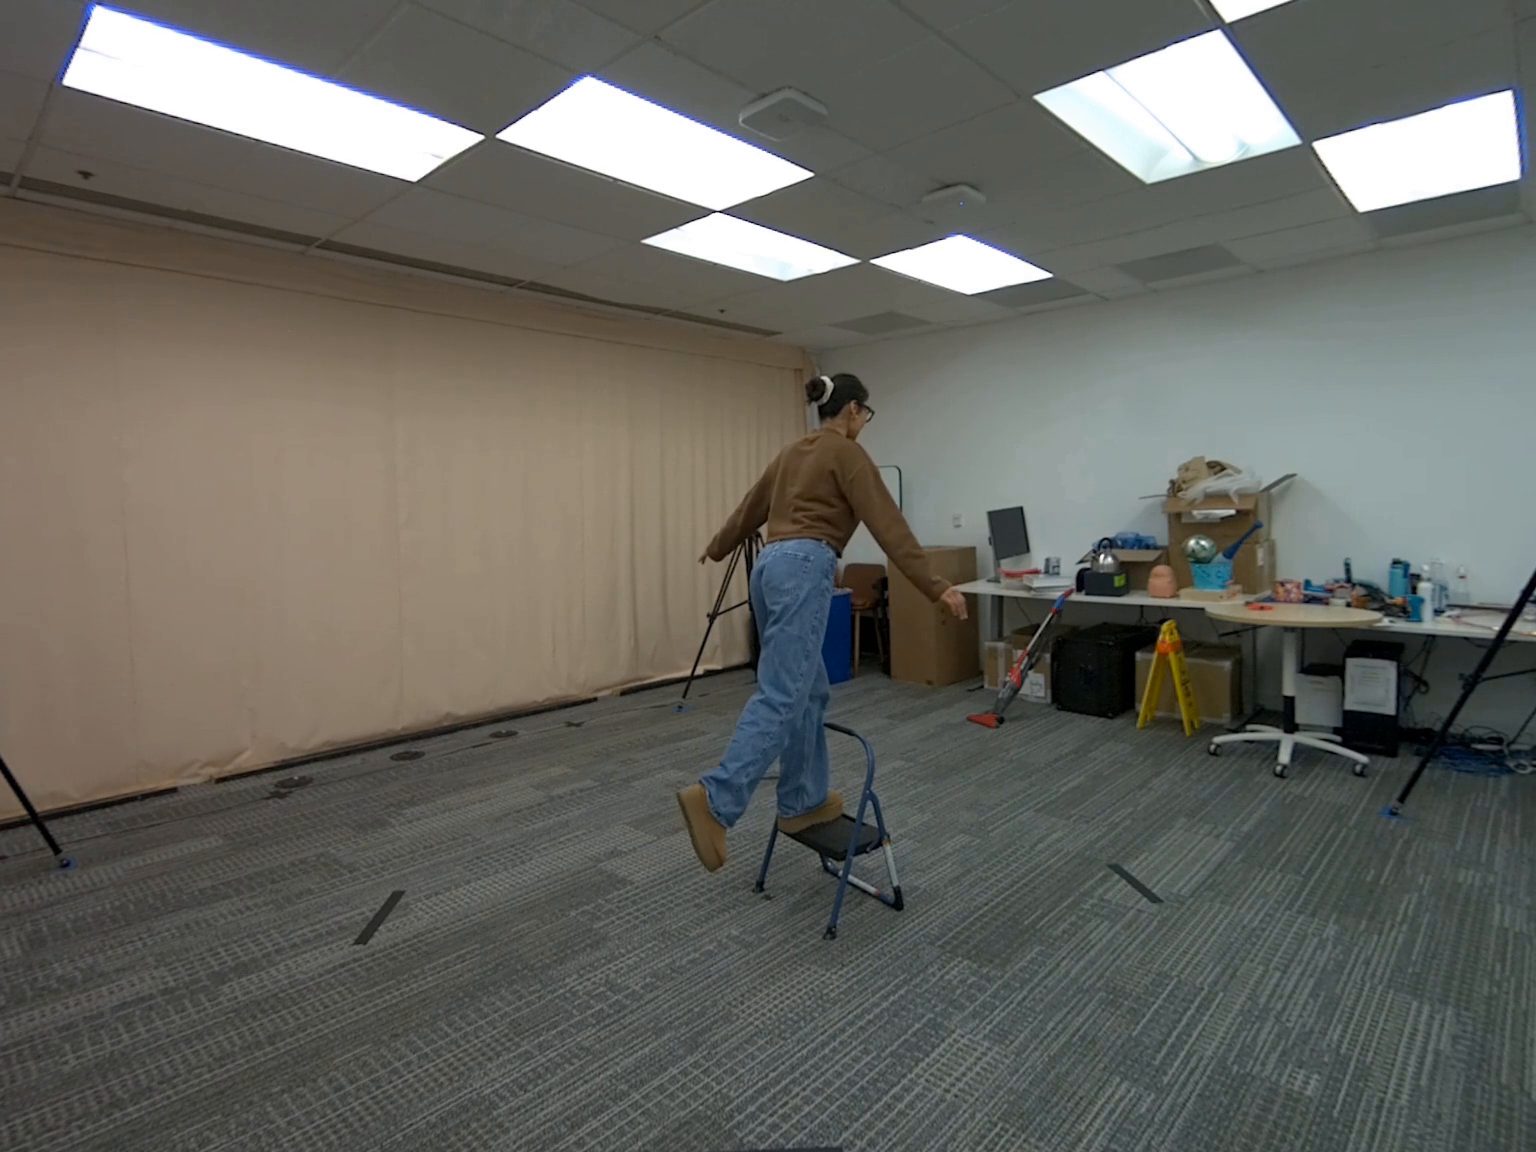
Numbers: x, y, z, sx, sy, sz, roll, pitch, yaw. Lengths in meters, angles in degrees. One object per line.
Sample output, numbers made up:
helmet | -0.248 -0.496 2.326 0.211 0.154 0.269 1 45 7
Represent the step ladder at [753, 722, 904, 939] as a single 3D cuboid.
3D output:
step ladder | 0.208 0.838 2.939 0.339 0.605 0.444 -3 4 -35
